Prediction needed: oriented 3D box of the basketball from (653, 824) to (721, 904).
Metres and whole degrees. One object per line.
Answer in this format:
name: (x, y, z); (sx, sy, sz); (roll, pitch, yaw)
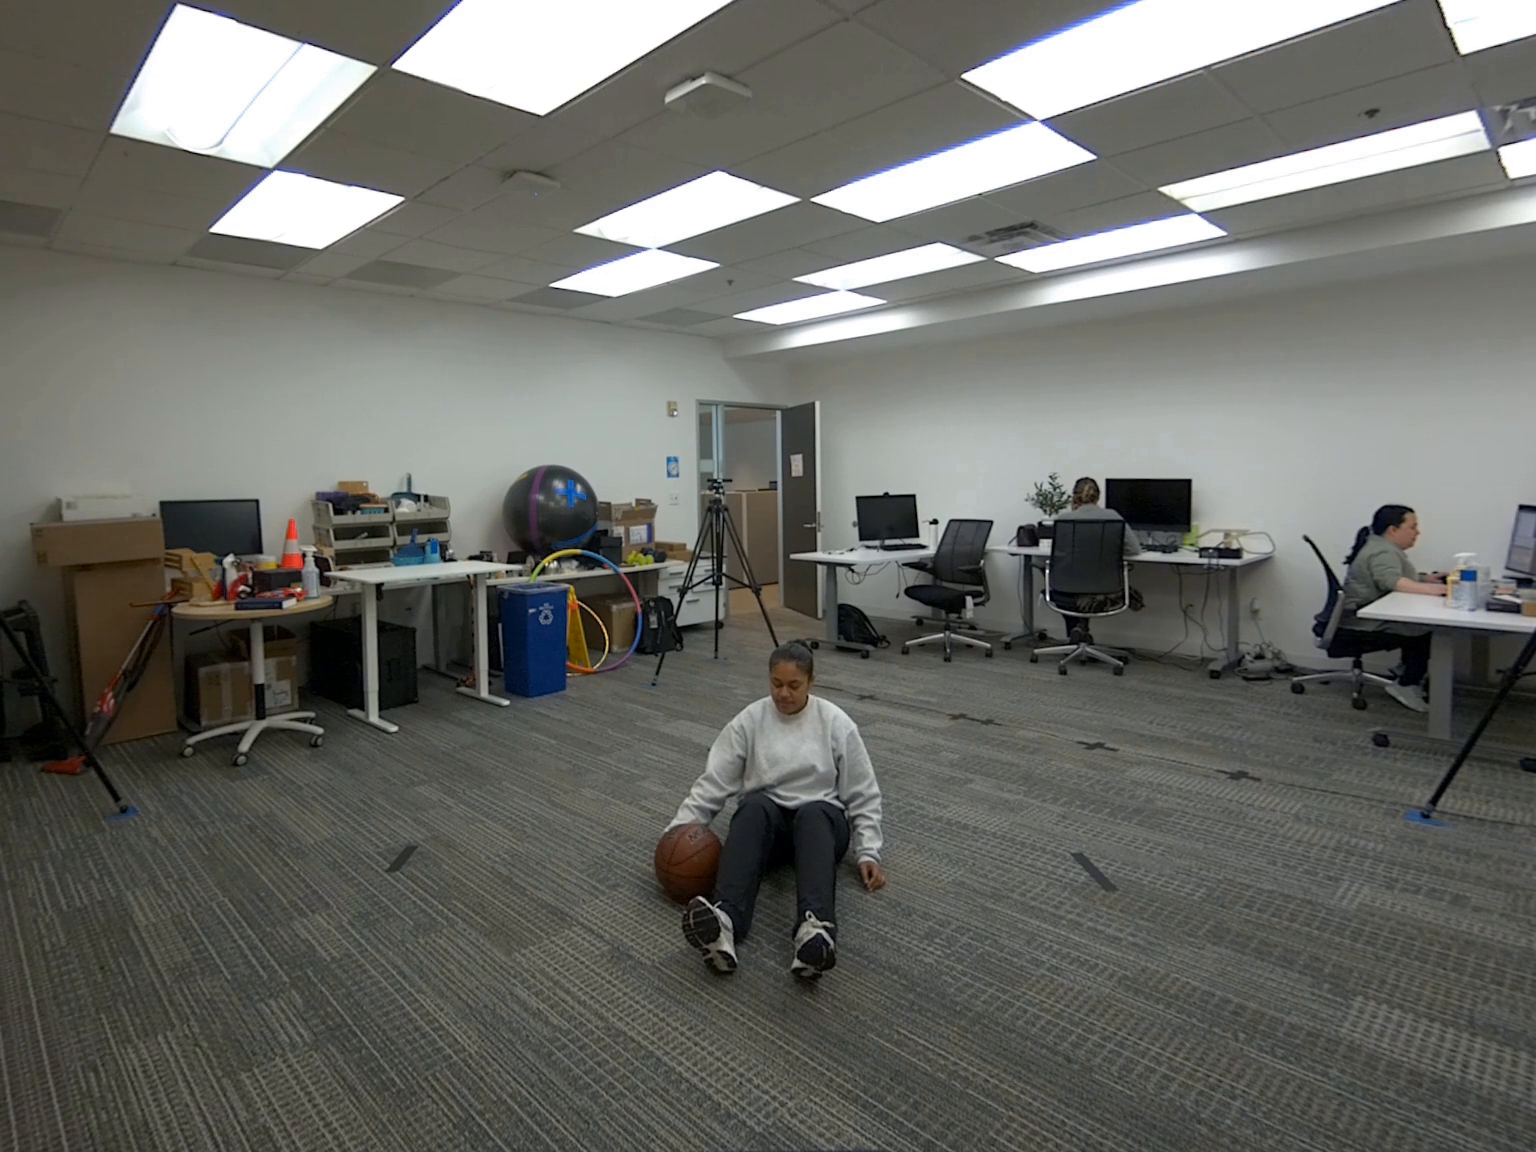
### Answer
basketball: (-0.254, 0.961, 2.865); (0.236, 0.235, 0.237); (-1, 5, -2)
